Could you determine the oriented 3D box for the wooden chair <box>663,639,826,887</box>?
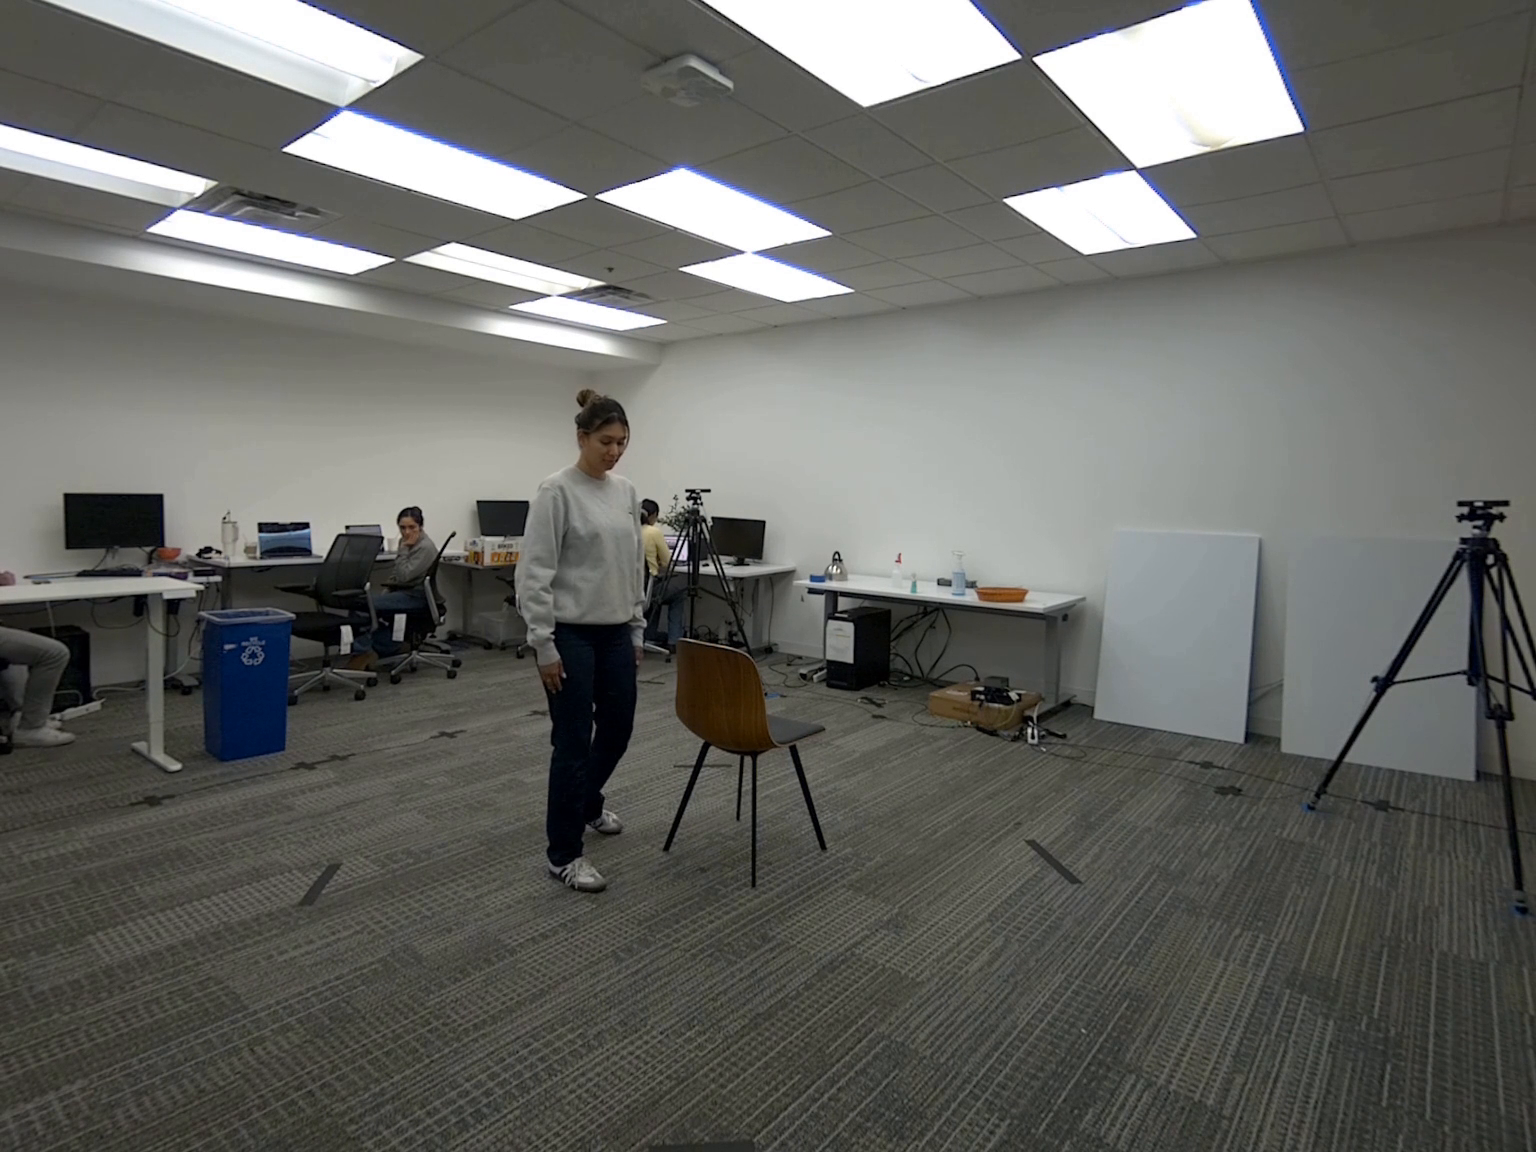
[{"bbox_3d":[-0.083,0.636,3.269,0.494,0.872,0.509,4,8,39],"label":"wooden chair"}]
